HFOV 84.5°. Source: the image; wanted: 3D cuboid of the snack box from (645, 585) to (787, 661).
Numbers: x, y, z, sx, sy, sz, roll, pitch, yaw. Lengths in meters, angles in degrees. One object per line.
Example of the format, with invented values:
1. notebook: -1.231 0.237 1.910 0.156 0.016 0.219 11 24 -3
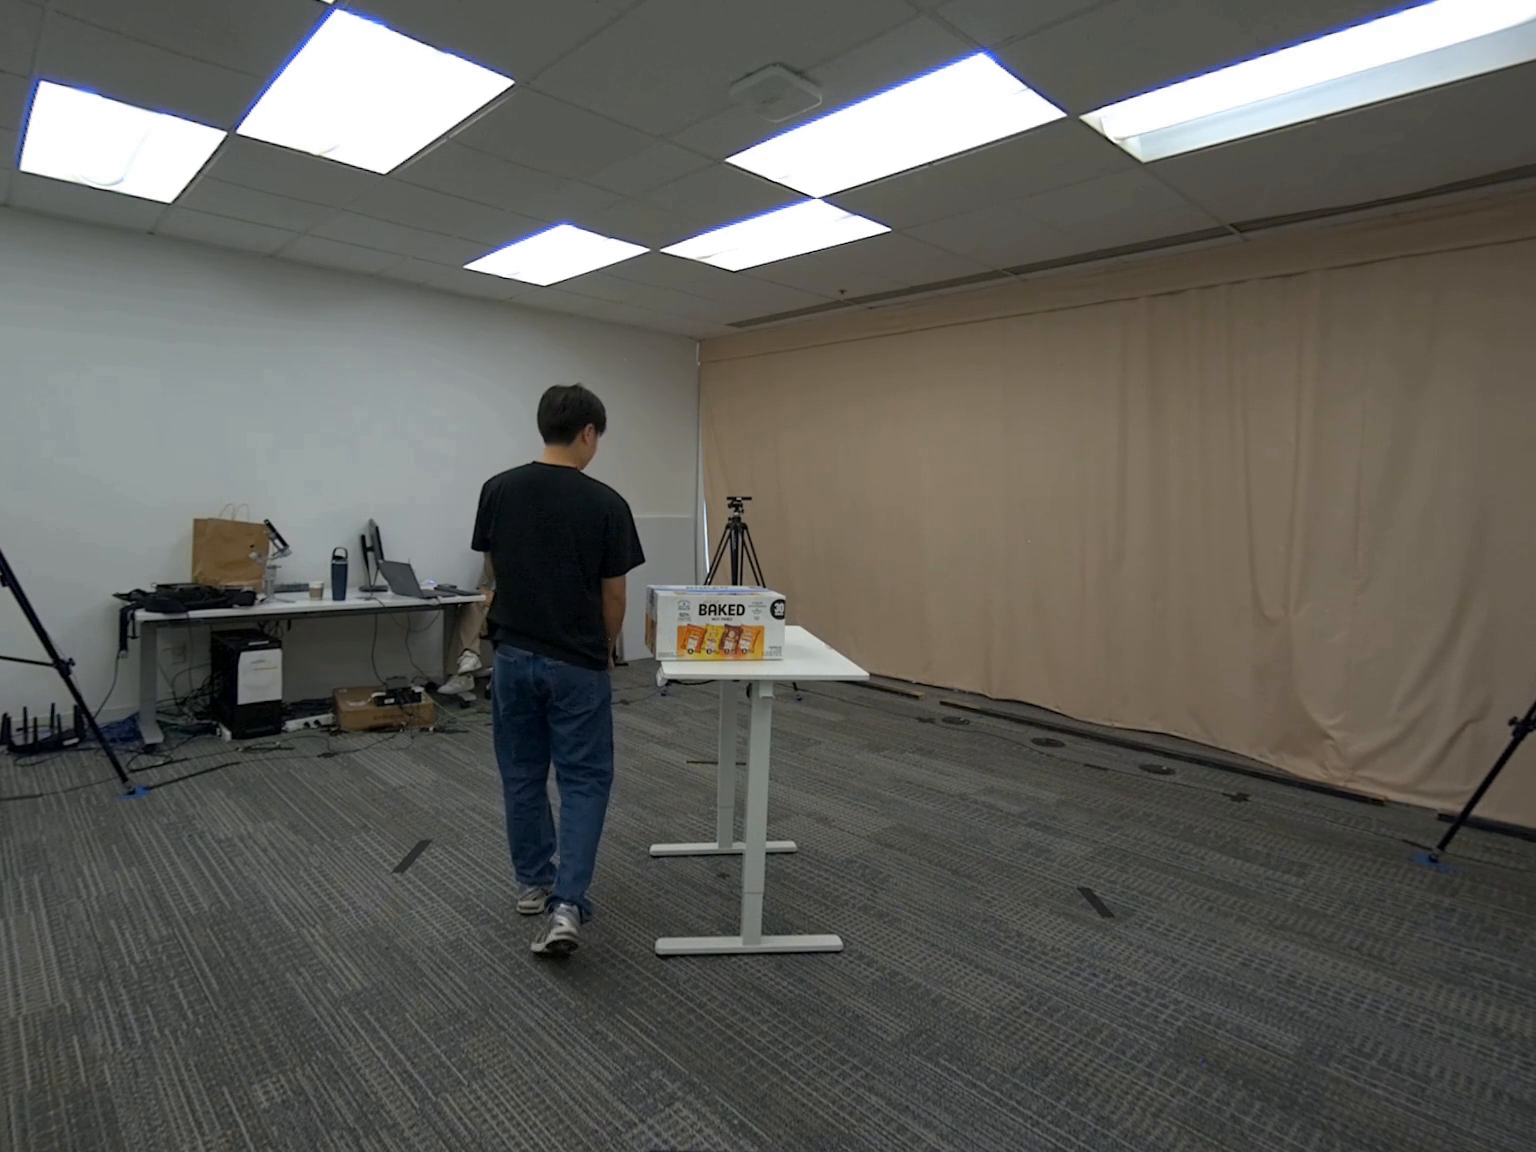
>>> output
1. snack box: -0.186 0.150 2.758 0.401 0.205 0.345 1 4 -14
